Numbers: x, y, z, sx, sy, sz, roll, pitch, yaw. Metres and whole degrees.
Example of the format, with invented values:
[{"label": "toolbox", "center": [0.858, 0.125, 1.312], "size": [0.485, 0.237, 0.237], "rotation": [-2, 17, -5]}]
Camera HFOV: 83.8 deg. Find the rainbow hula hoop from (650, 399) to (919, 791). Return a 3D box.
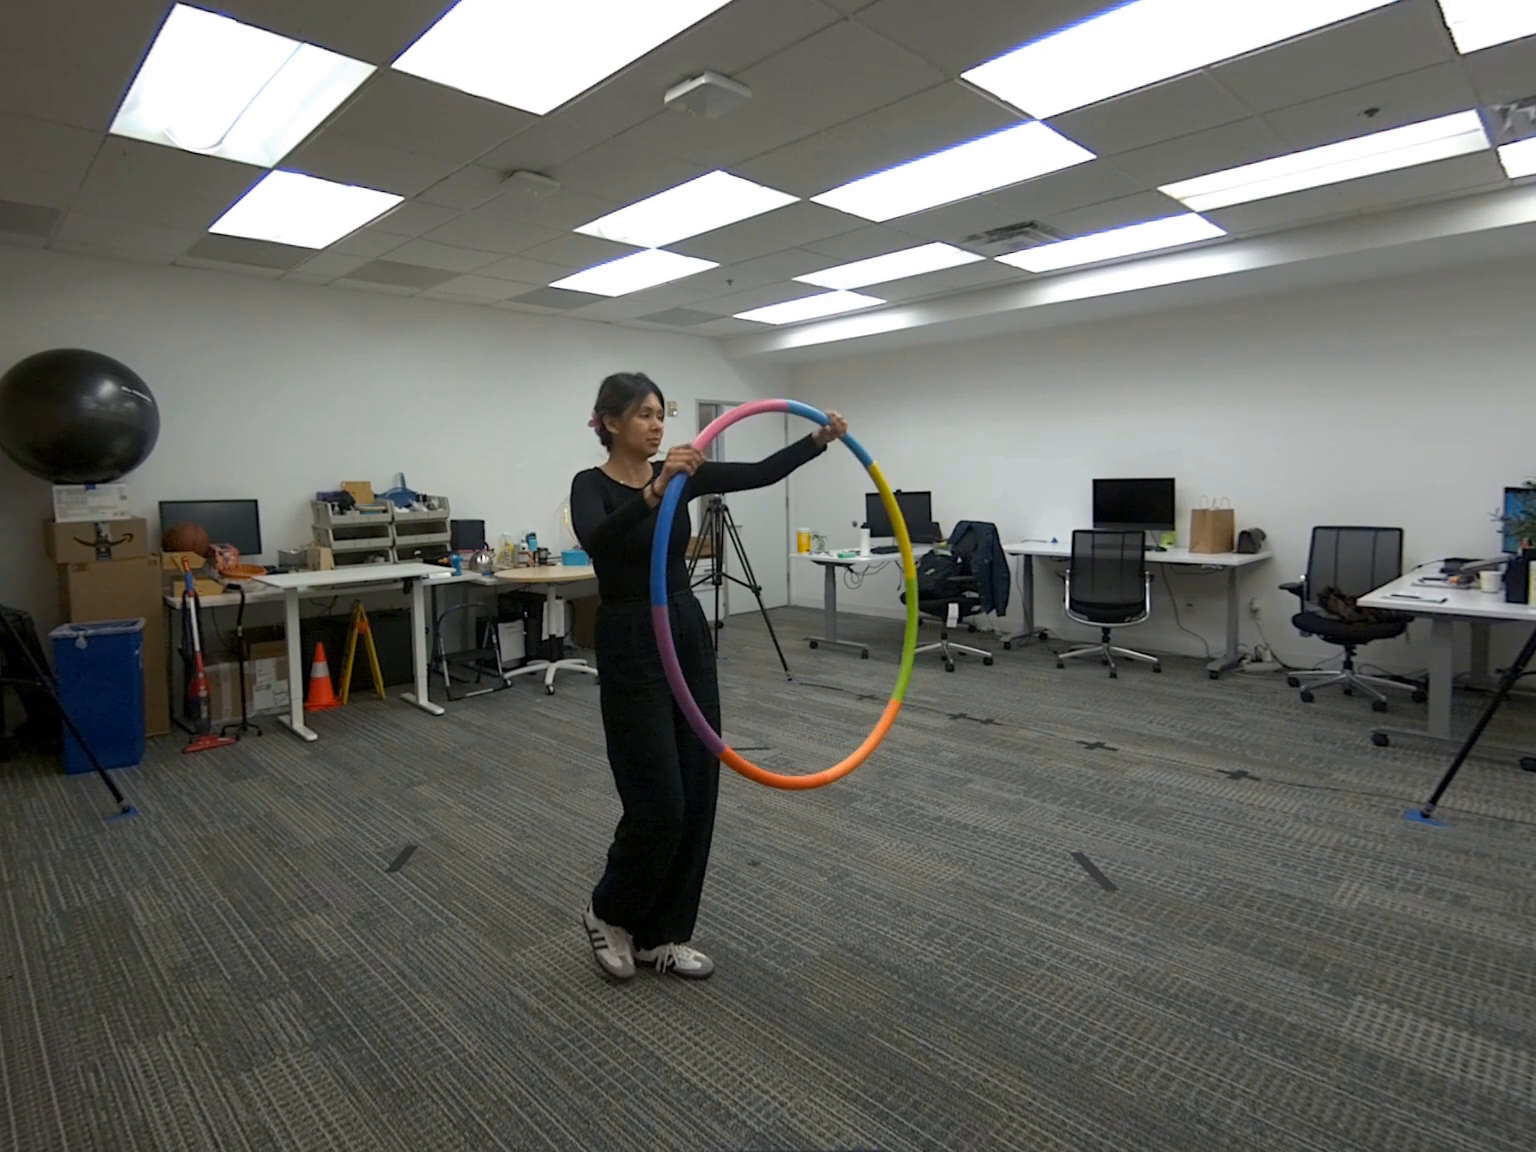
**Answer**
[{"label": "rainbow hula hoop", "center": [0.091, 0.026, 2.202], "size": [0.959, 0.987, 0.053], "rotation": [-6, -2, -45]}]
